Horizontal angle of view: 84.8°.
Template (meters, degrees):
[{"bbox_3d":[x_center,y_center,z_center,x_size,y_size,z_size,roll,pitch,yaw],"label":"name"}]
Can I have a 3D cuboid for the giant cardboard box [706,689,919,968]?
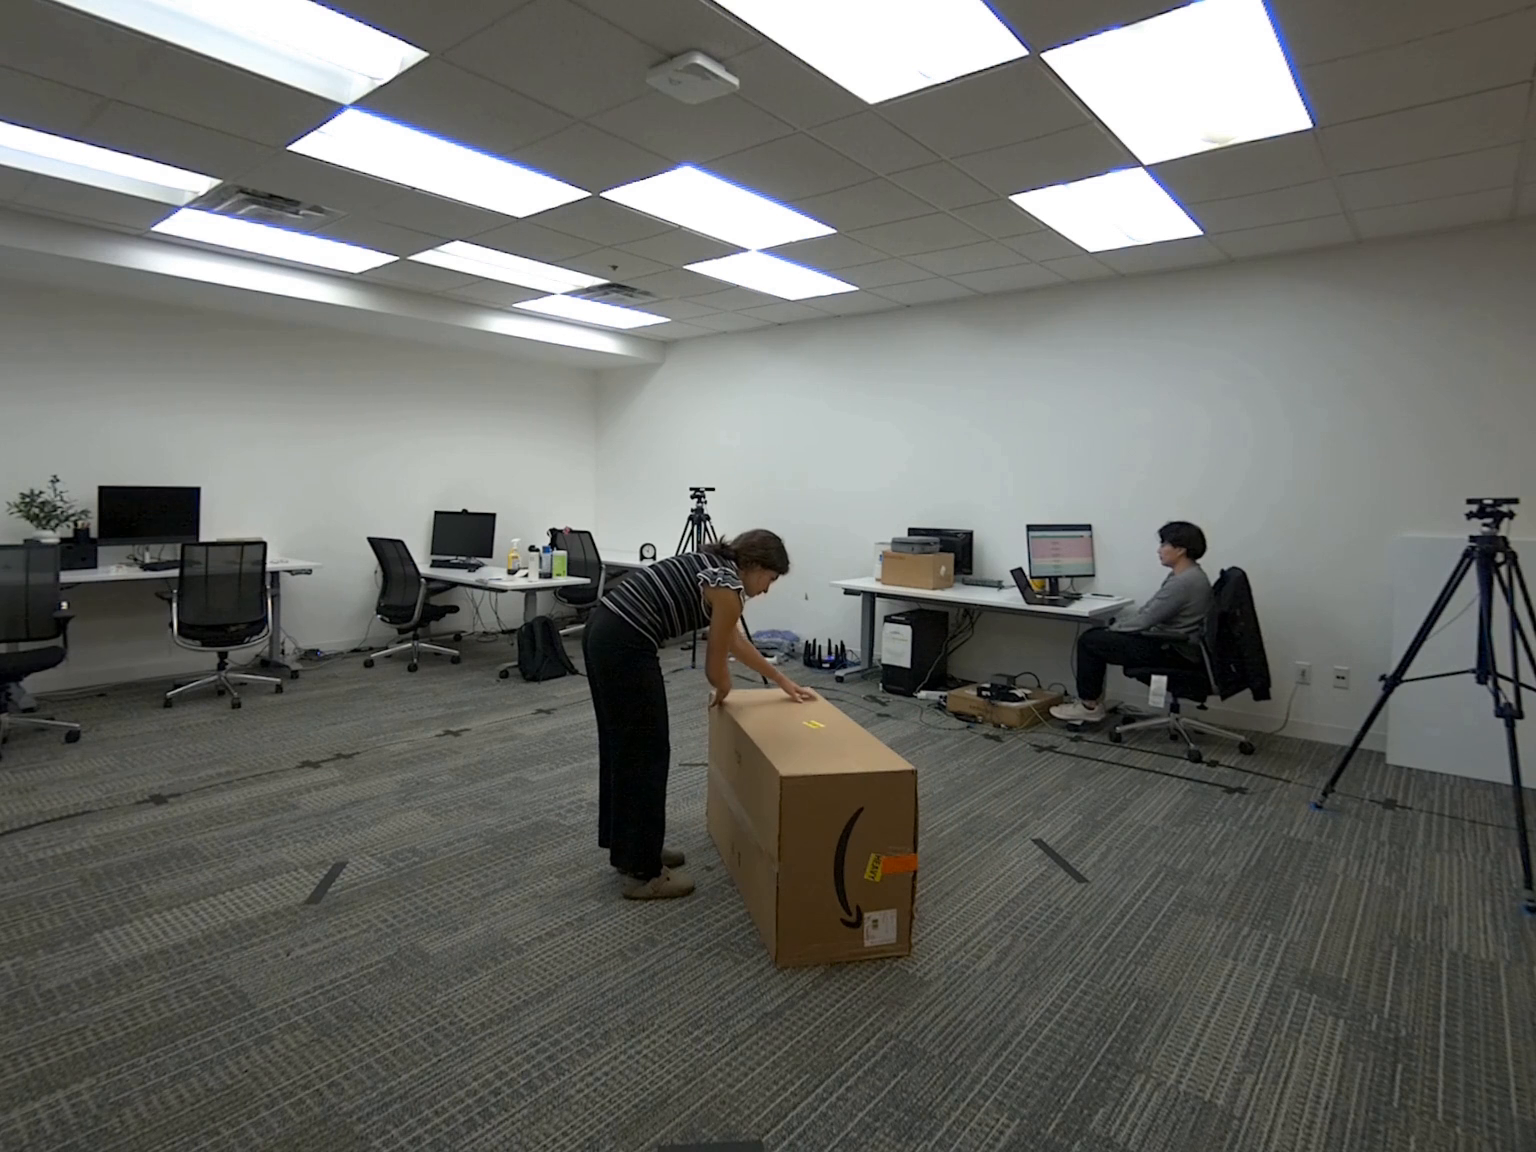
[{"bbox_3d":[0.096,0.790,2.985,0.420,0.575,1.045,0,5,-15],"label":"giant cardboard box"}]
